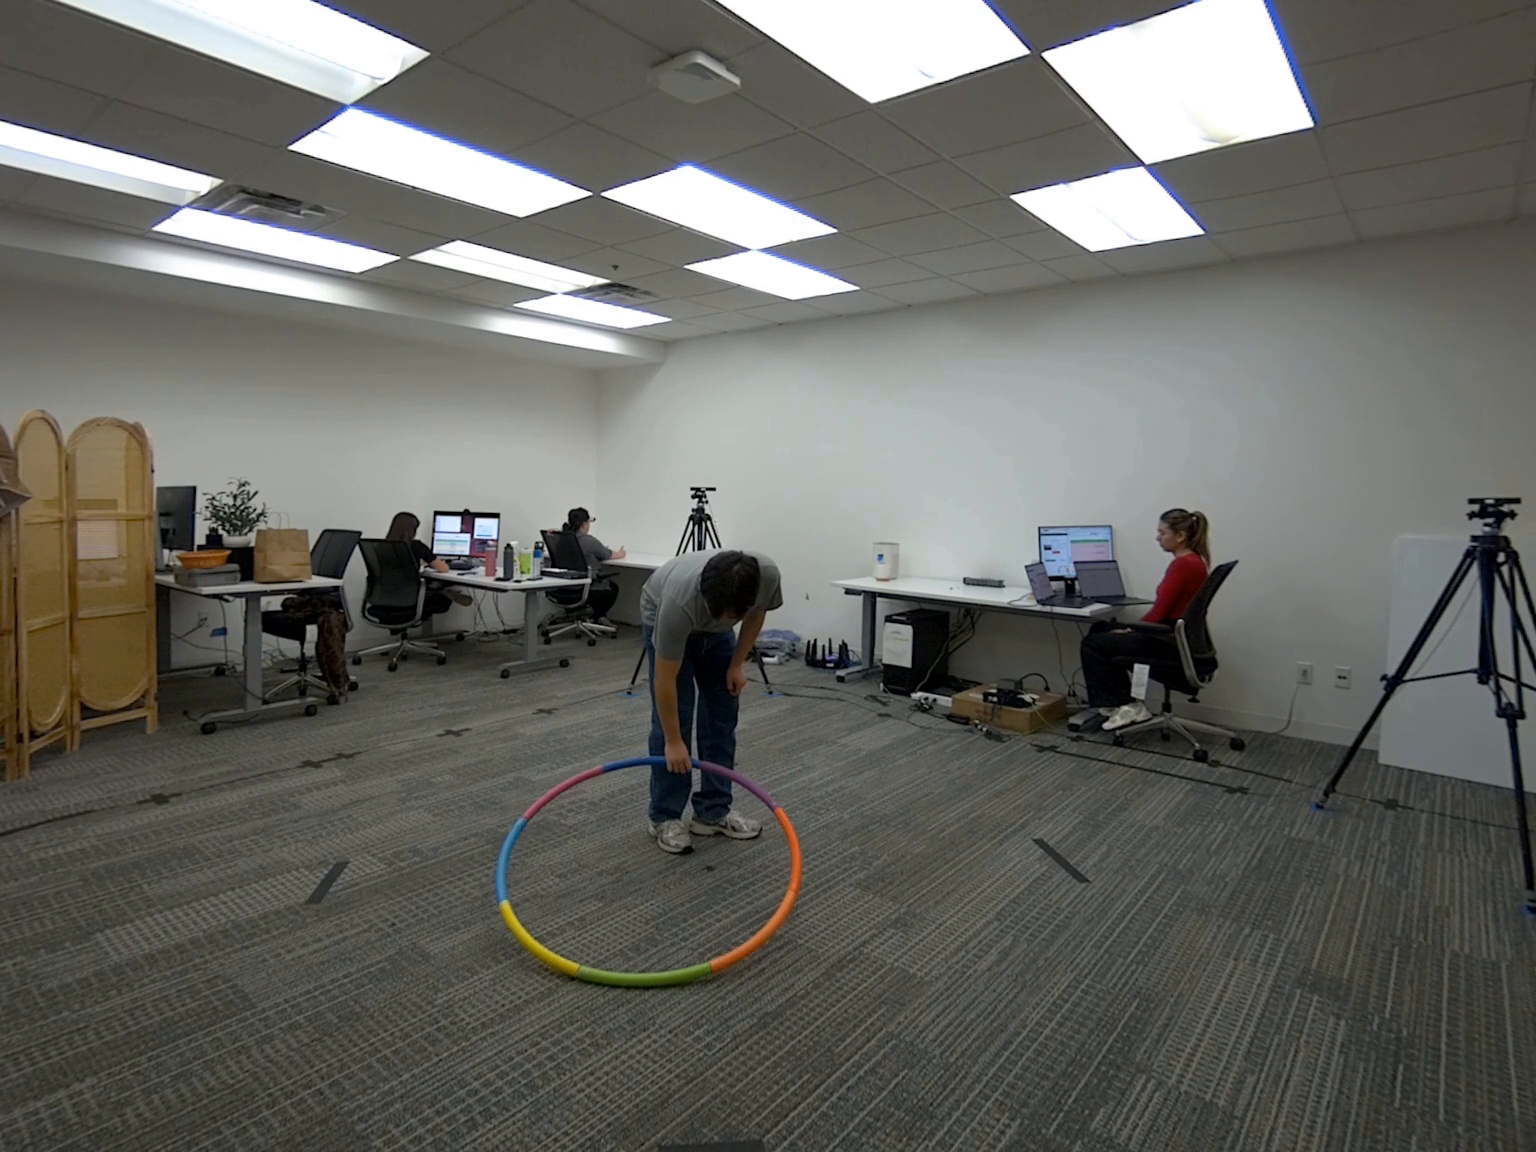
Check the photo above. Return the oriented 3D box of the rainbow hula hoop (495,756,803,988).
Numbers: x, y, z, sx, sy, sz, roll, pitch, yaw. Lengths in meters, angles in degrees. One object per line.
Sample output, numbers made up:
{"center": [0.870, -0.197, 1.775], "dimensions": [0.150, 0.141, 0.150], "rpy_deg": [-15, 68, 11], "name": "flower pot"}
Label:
{"center": [-0.392, 0.913, 2.783], "dimensions": [0.978, 0.035, 1.001], "rpy_deg": [-1, 26, -1], "name": "rainbow hula hoop"}
